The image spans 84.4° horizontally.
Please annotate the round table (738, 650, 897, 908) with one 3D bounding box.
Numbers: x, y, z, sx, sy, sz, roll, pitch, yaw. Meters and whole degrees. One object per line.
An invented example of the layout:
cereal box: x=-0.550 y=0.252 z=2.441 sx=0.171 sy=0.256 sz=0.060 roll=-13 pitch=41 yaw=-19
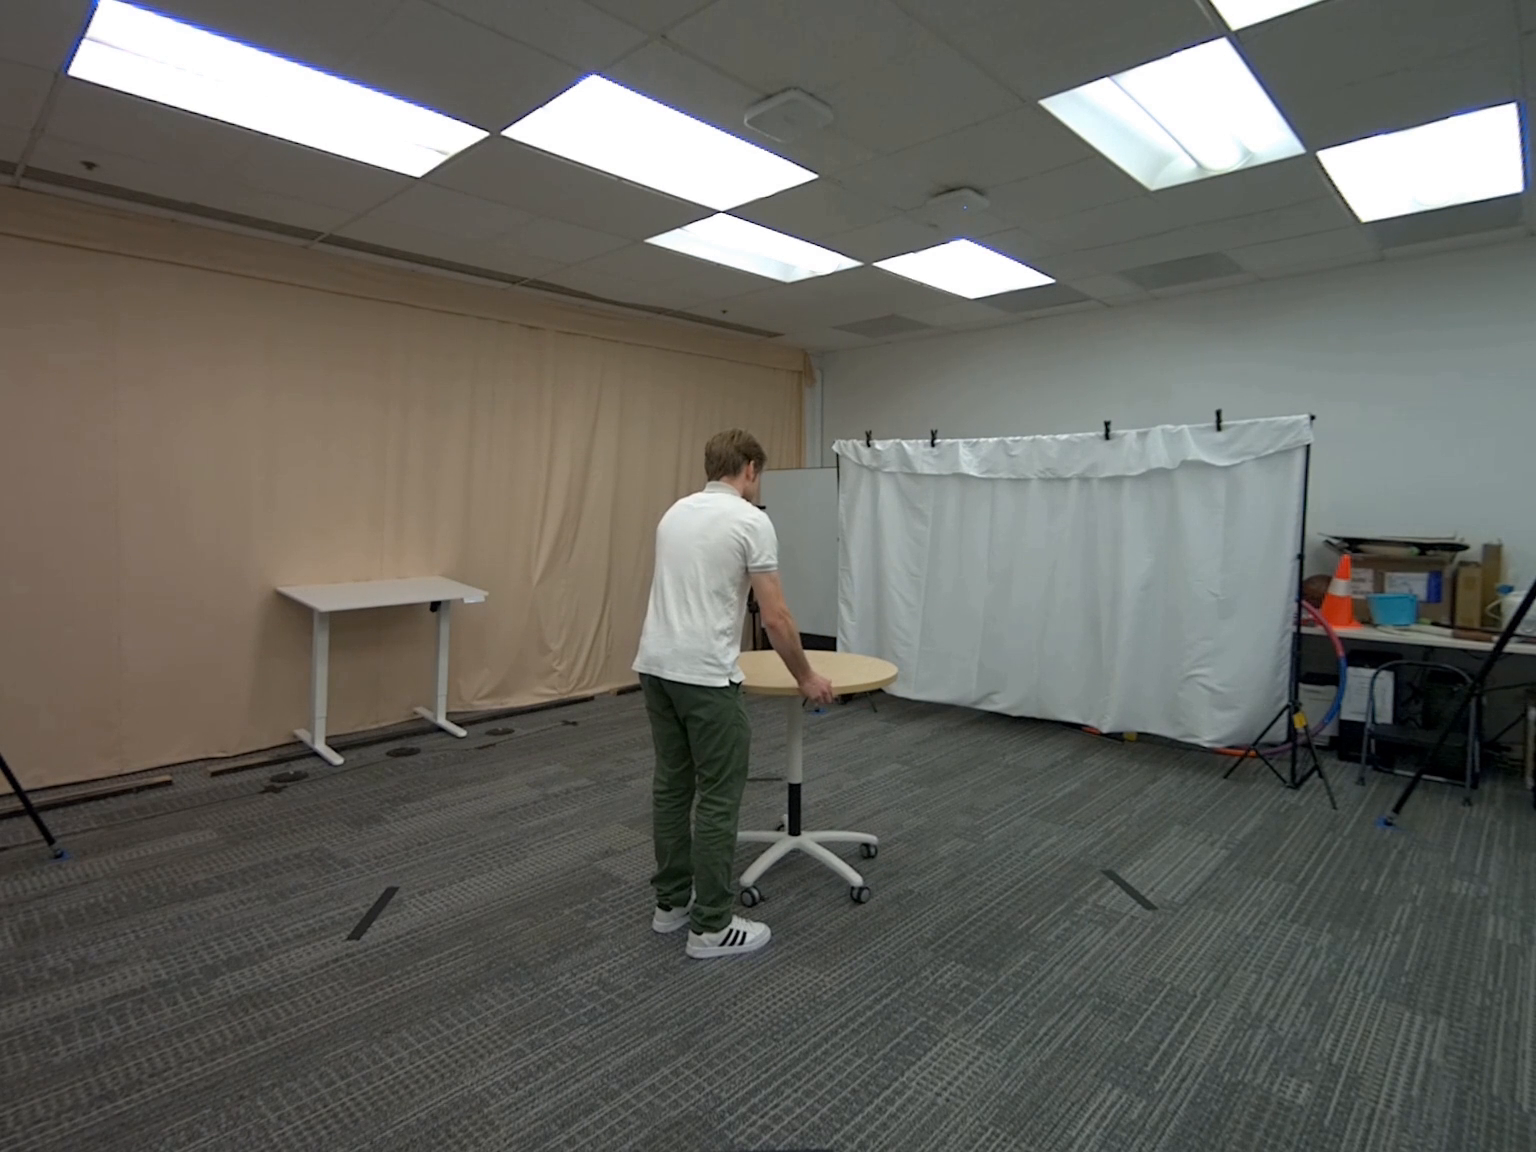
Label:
round table: x=0.111 y=0.736 z=3.193 sx=0.763 sy=0.792 sz=0.766 roll=0 pitch=3 yaw=-2
